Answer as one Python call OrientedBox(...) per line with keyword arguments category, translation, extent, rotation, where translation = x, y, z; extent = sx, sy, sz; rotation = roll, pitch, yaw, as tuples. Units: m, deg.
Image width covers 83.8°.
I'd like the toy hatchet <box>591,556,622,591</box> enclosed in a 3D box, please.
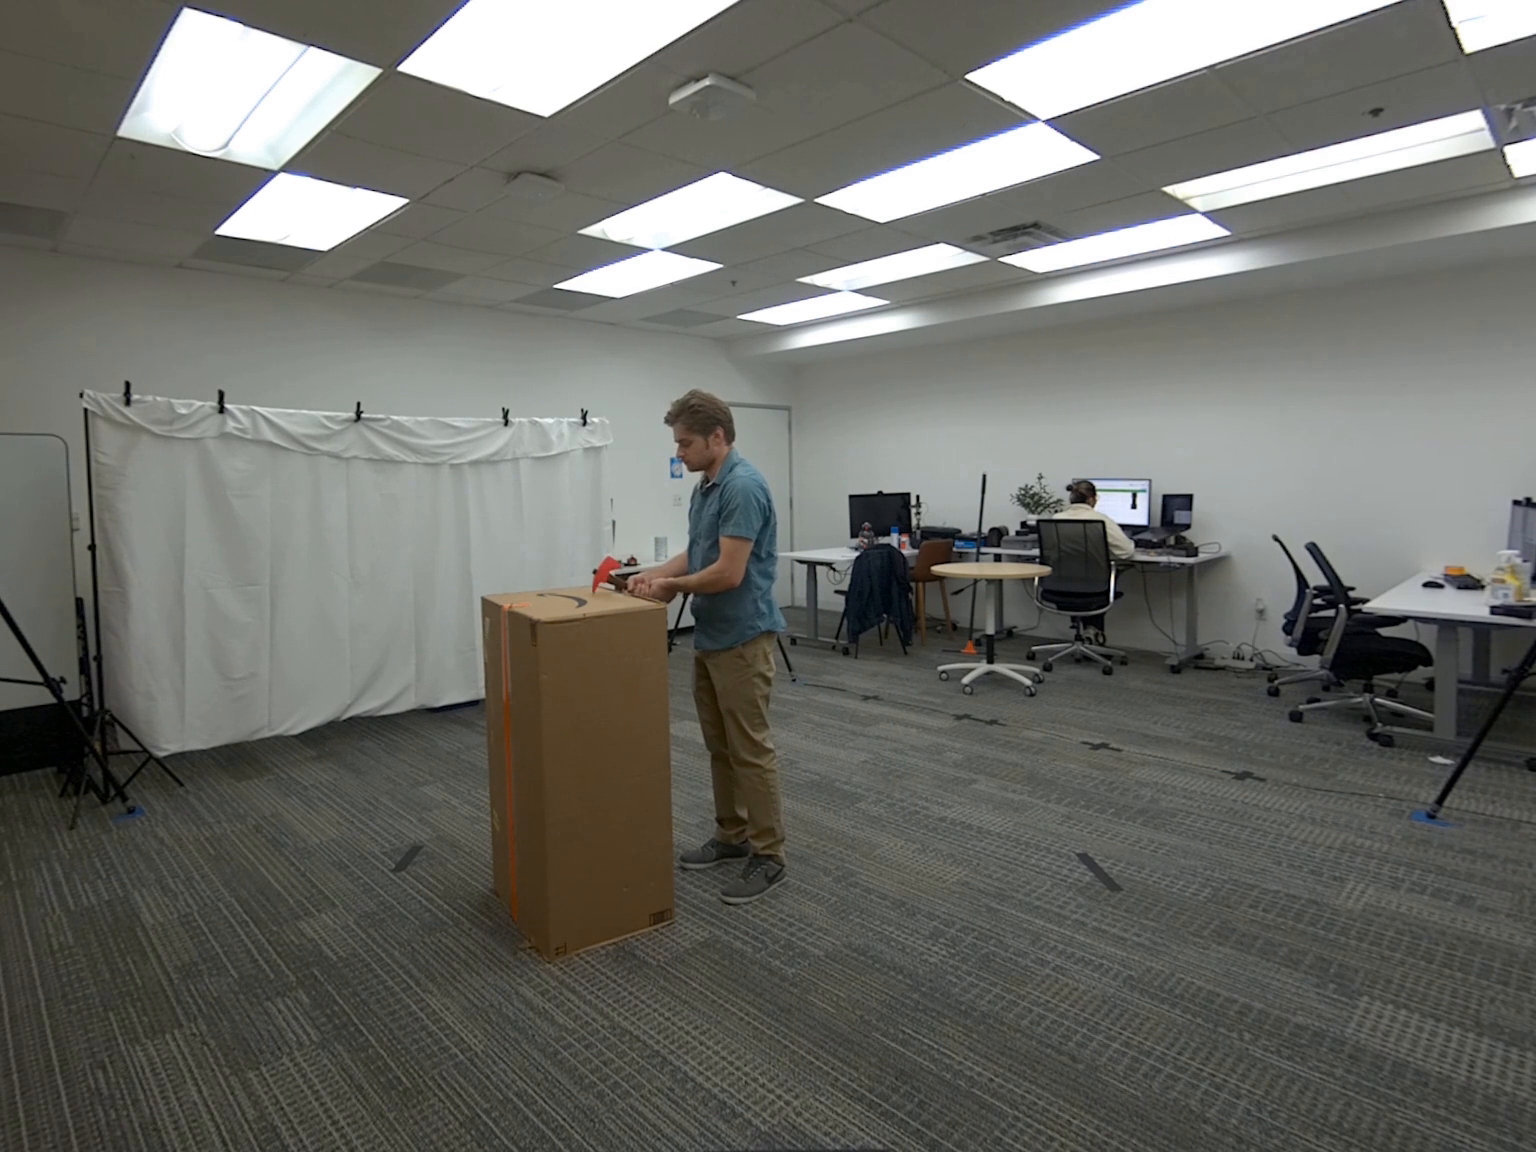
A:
OrientedBox(category="toy hatchet", translation=(-0.461, -0.005, 2.934), extent=(0.266, 0.131, 0.030), rotation=(7, -6, -15))
